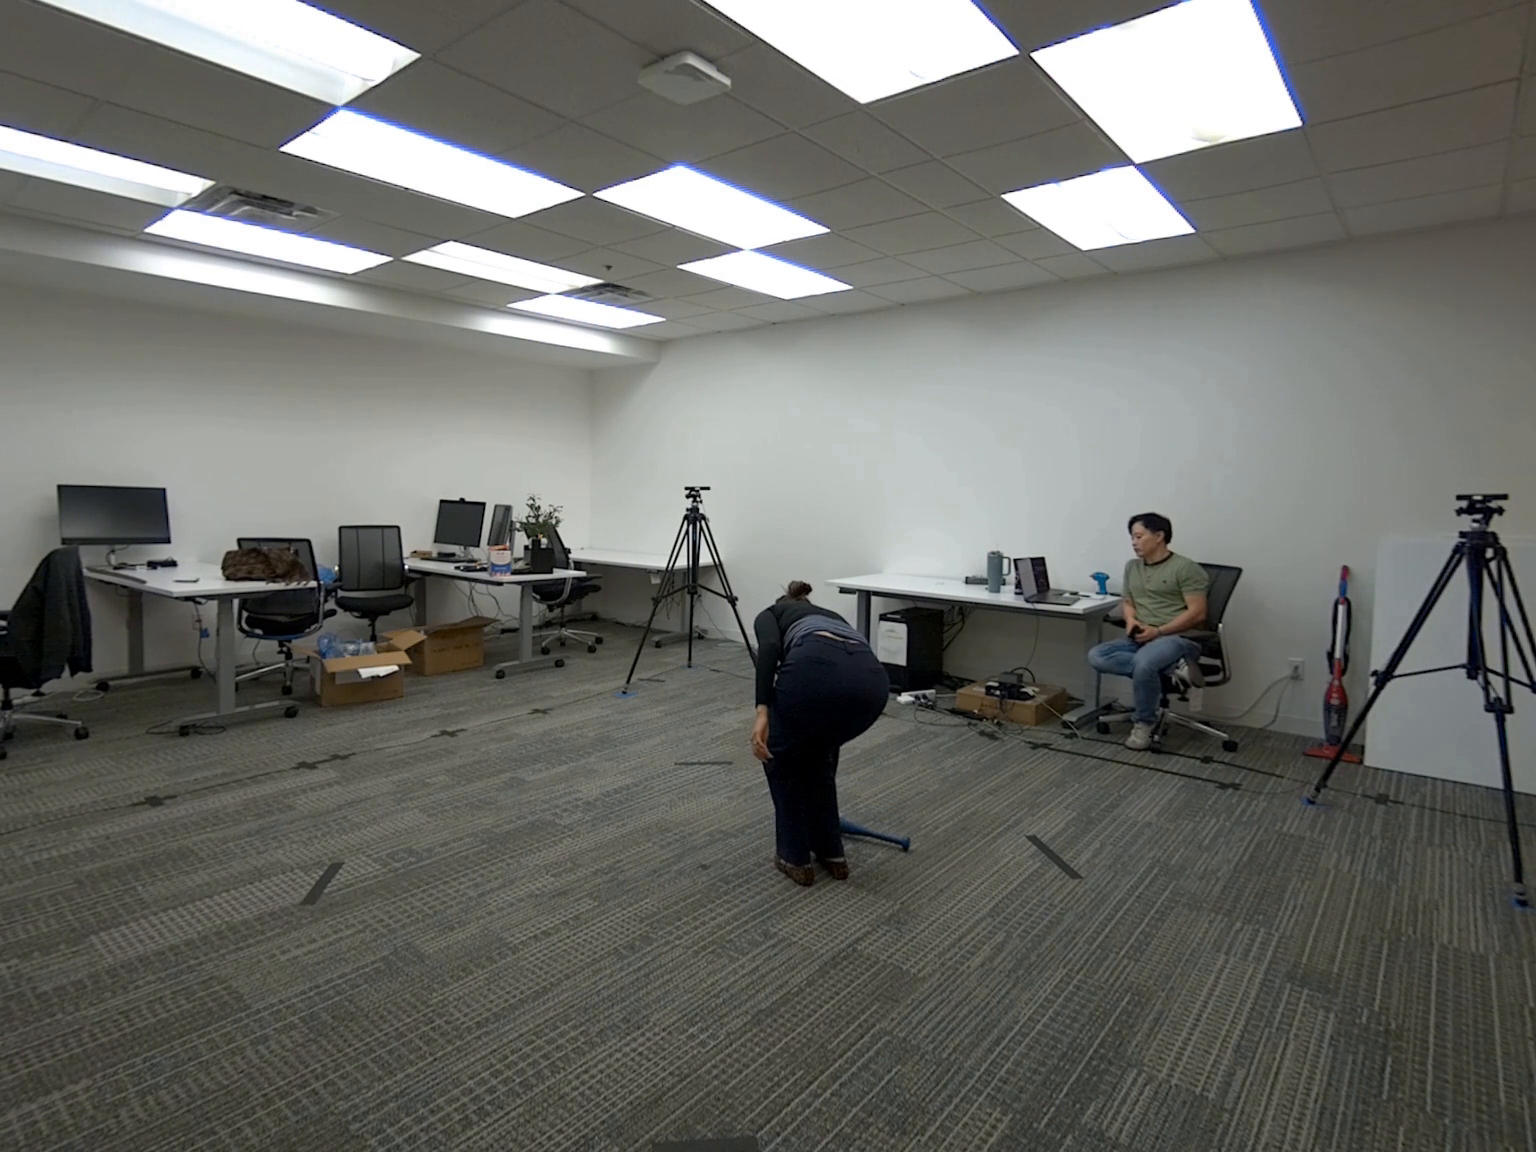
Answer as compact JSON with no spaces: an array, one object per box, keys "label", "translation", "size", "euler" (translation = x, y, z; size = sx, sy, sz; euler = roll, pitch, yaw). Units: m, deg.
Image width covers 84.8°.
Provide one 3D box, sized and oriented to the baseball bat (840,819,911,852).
[{"label":"baseball bat","translation":[0.295,1.002,3.420],"size":[0.558,0.088,0.087],"euler":[7,6,27]}]
